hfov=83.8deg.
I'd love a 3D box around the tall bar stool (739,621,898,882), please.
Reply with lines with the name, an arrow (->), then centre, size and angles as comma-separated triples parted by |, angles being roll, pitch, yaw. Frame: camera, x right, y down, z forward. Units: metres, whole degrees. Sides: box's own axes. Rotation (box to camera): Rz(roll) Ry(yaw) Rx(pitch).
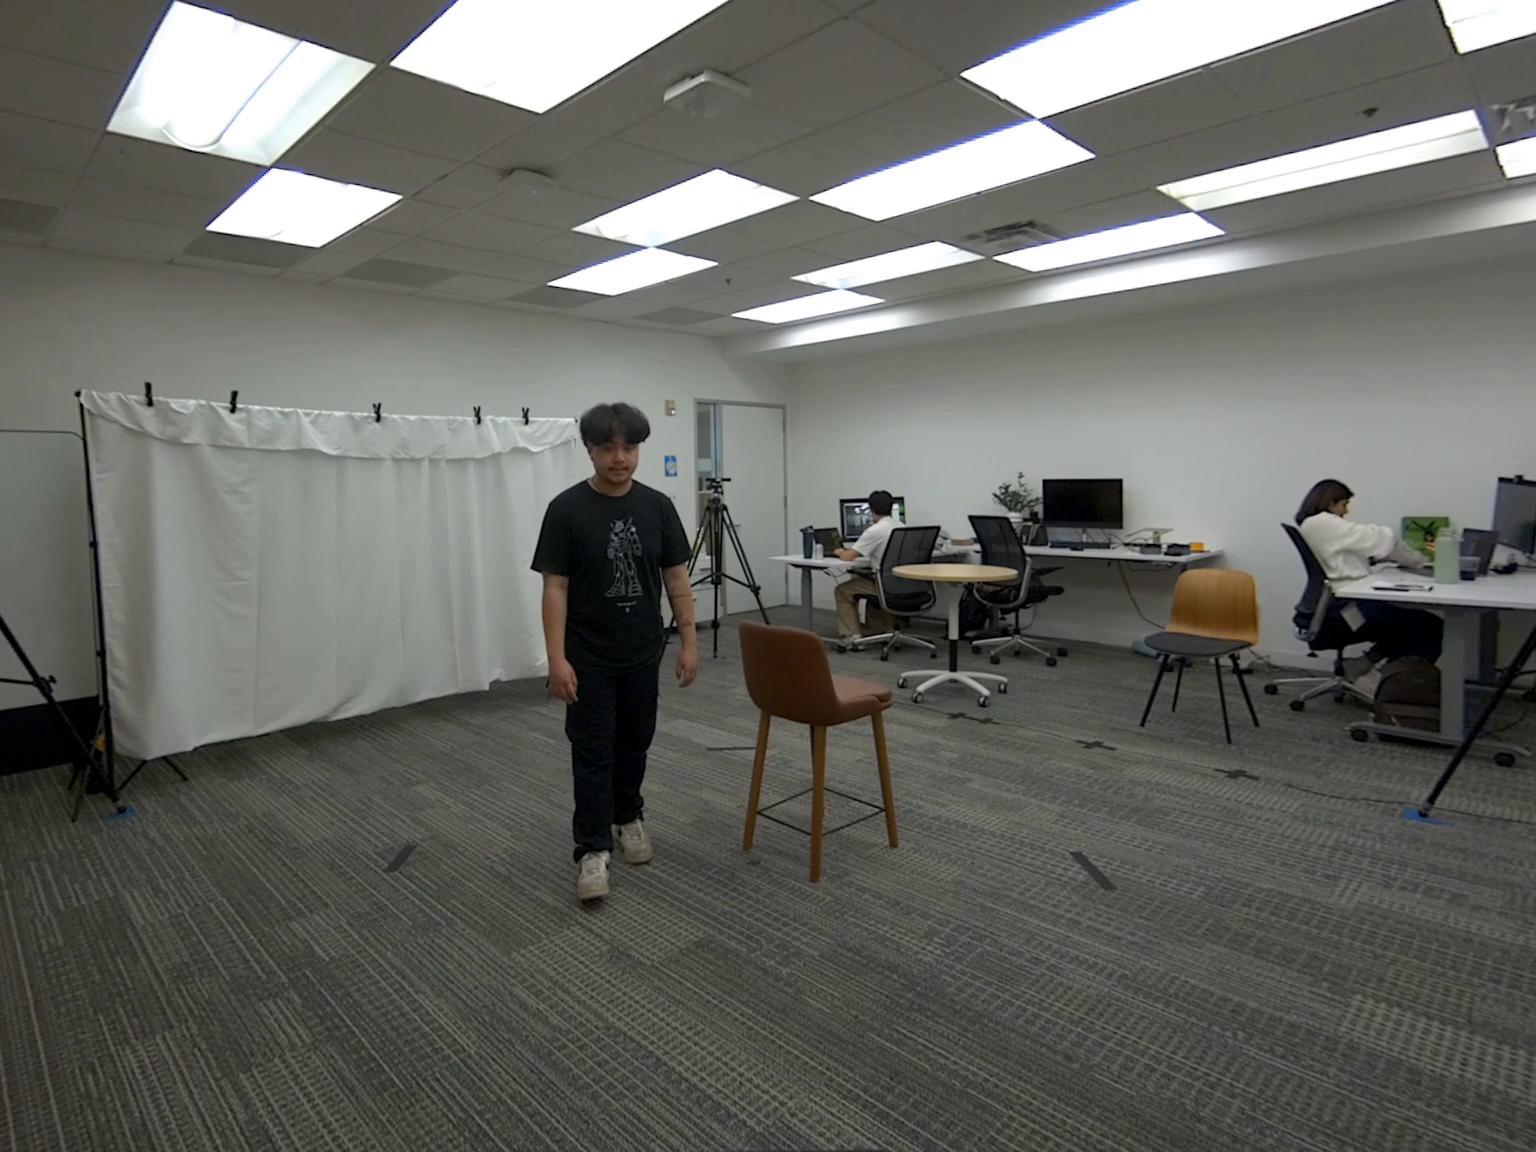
tall bar stool -> 0.180, 0.591, 3.202 | 0.456, 0.885, 0.470 | -7, 7, -42
